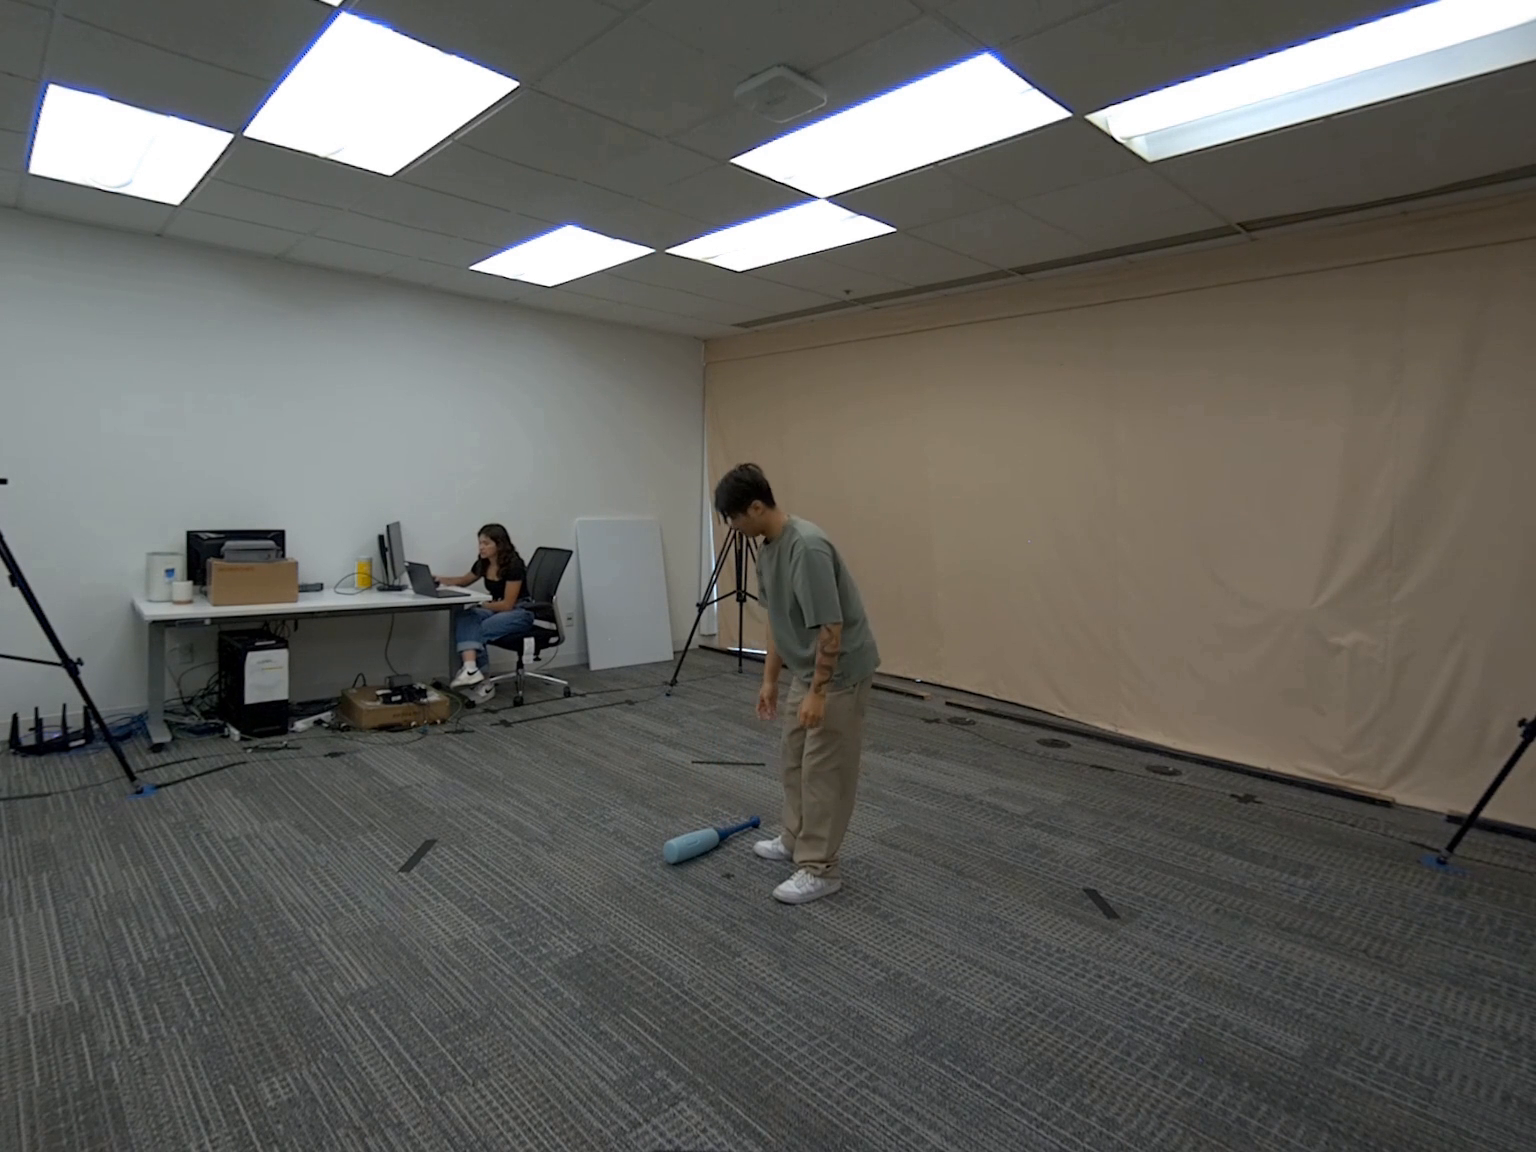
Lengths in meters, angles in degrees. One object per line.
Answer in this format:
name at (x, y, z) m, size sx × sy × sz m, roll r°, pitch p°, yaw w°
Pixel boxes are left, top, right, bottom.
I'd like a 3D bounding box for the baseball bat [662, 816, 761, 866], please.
baseball bat at (-0.217, 1.048, 3.376) m, size 0.091 × 0.089 × 0.530 m, roll 5°, pitch 2°, yaw 38°
